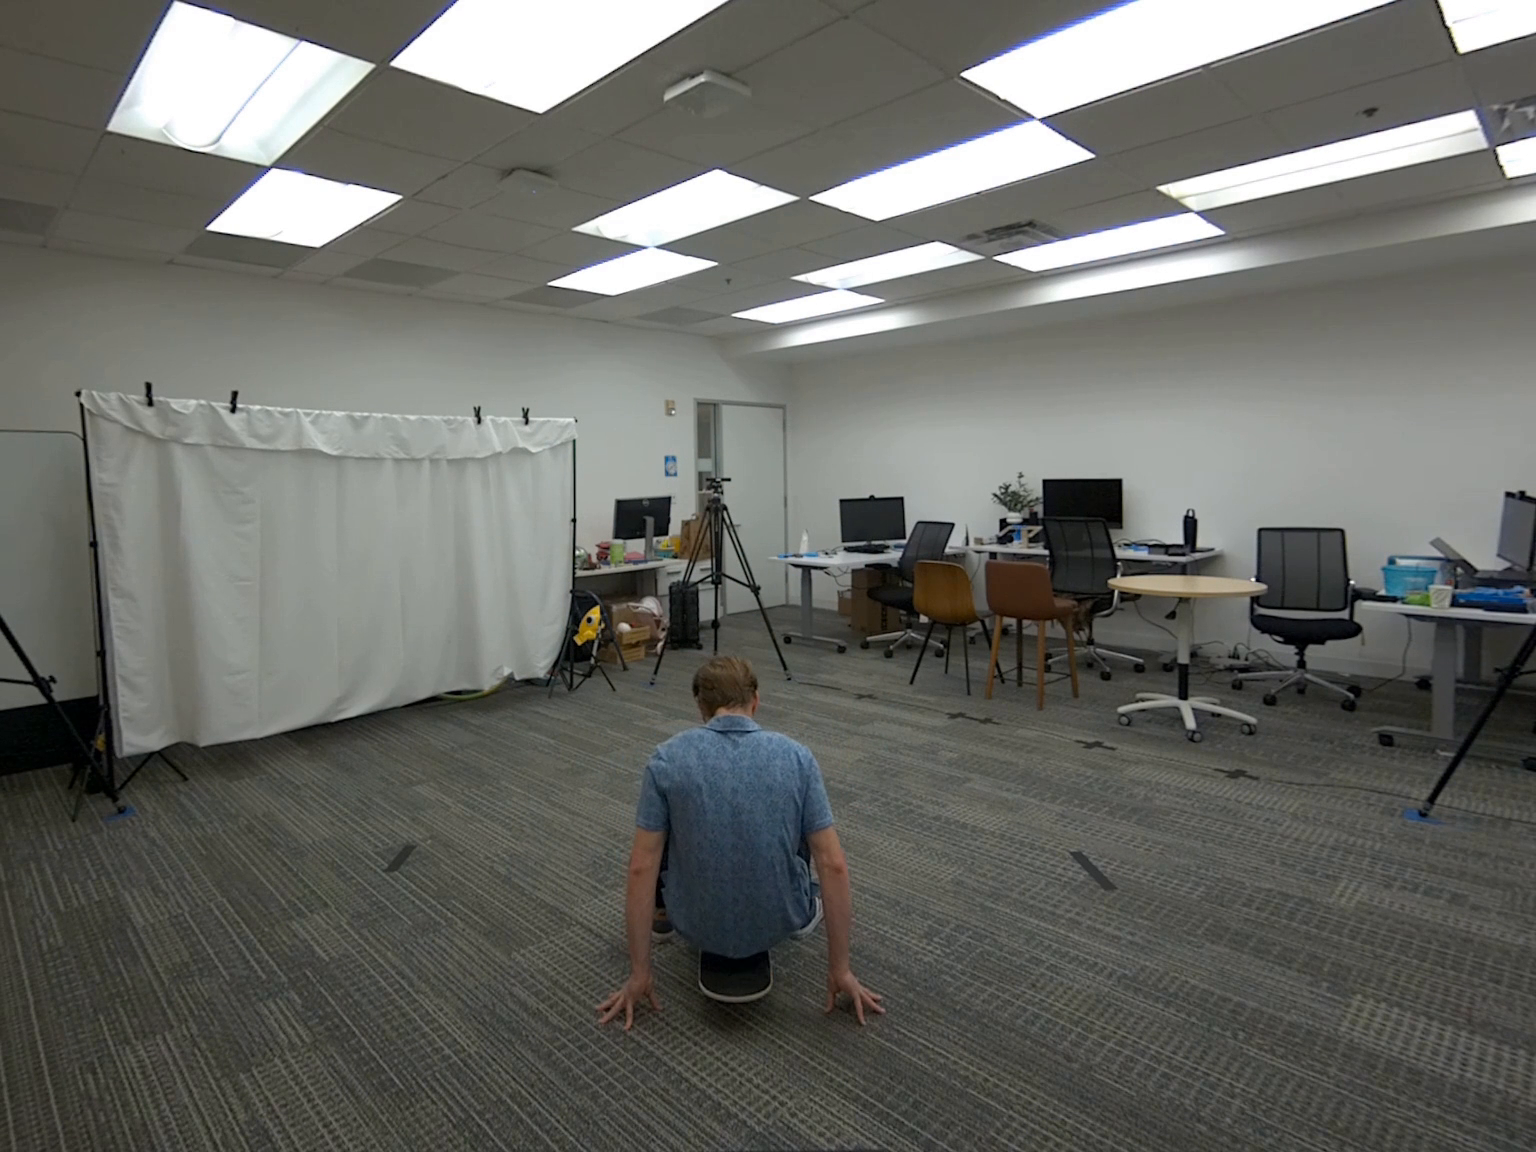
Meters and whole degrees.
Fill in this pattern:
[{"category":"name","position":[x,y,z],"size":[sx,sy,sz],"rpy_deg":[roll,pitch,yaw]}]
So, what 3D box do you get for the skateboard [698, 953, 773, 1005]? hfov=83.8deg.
[{"category":"skateboard","position":[-0.104,1.059,2.528],"size":[0.193,0.109,0.793],"rpy_deg":[-2,9,-4]}]
